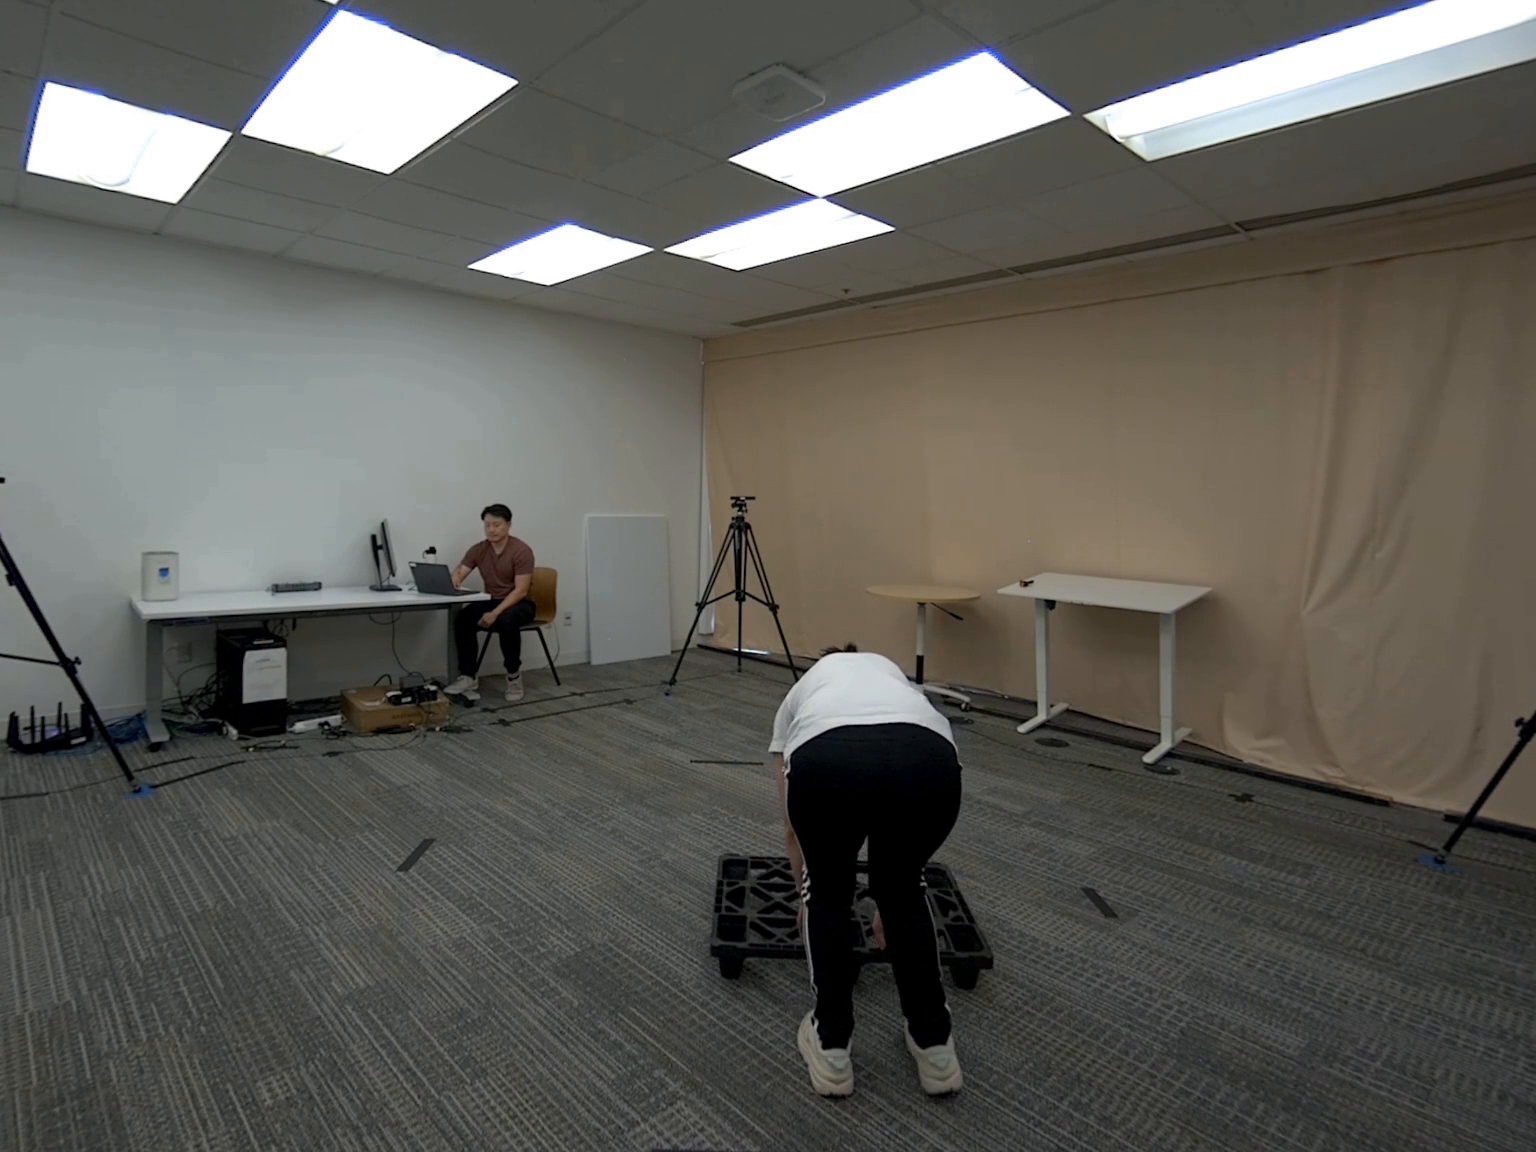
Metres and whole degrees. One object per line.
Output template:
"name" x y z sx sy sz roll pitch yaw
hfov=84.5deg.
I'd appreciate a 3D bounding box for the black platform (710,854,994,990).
"black platform" 0.222 1.087 2.654 0.806 0.143 0.607 1 7 1
